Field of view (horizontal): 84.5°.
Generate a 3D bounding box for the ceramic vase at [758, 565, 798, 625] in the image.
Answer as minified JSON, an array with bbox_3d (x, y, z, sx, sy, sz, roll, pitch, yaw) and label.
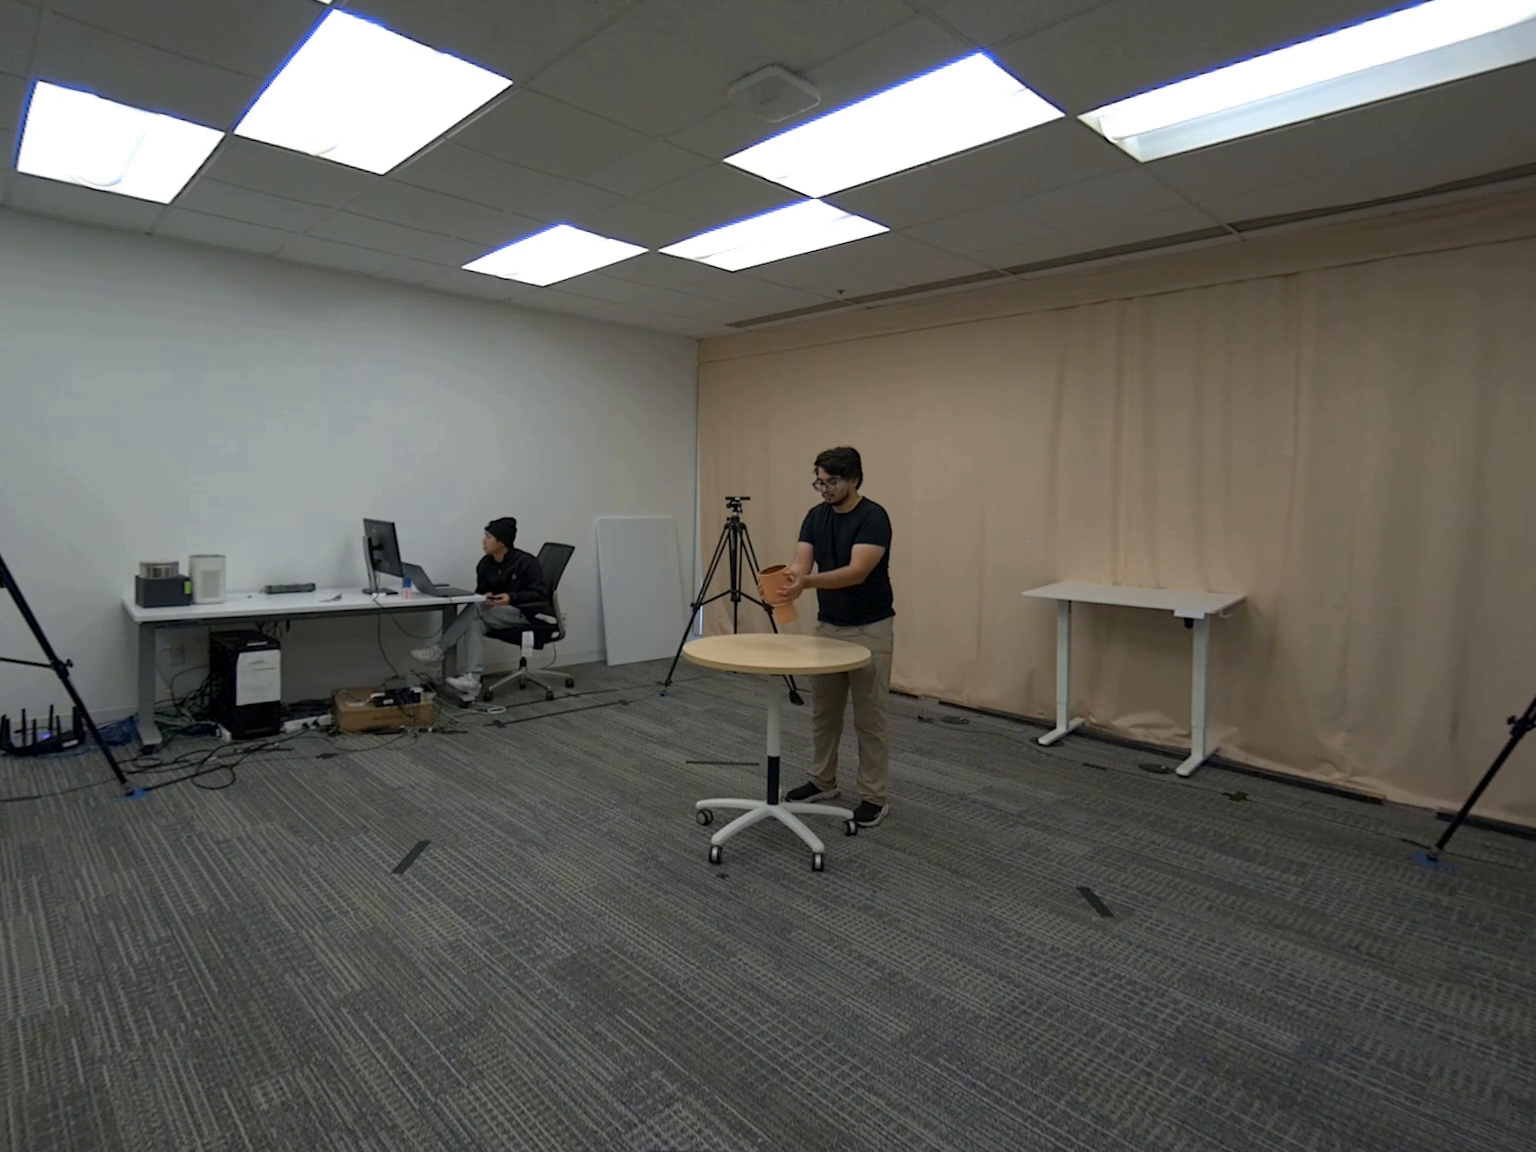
[{"bbox_3d":[0.044,0.078,3.483,0.134,0.217,0.161,-17,13,-11],"label":"ceramic vase"}]
